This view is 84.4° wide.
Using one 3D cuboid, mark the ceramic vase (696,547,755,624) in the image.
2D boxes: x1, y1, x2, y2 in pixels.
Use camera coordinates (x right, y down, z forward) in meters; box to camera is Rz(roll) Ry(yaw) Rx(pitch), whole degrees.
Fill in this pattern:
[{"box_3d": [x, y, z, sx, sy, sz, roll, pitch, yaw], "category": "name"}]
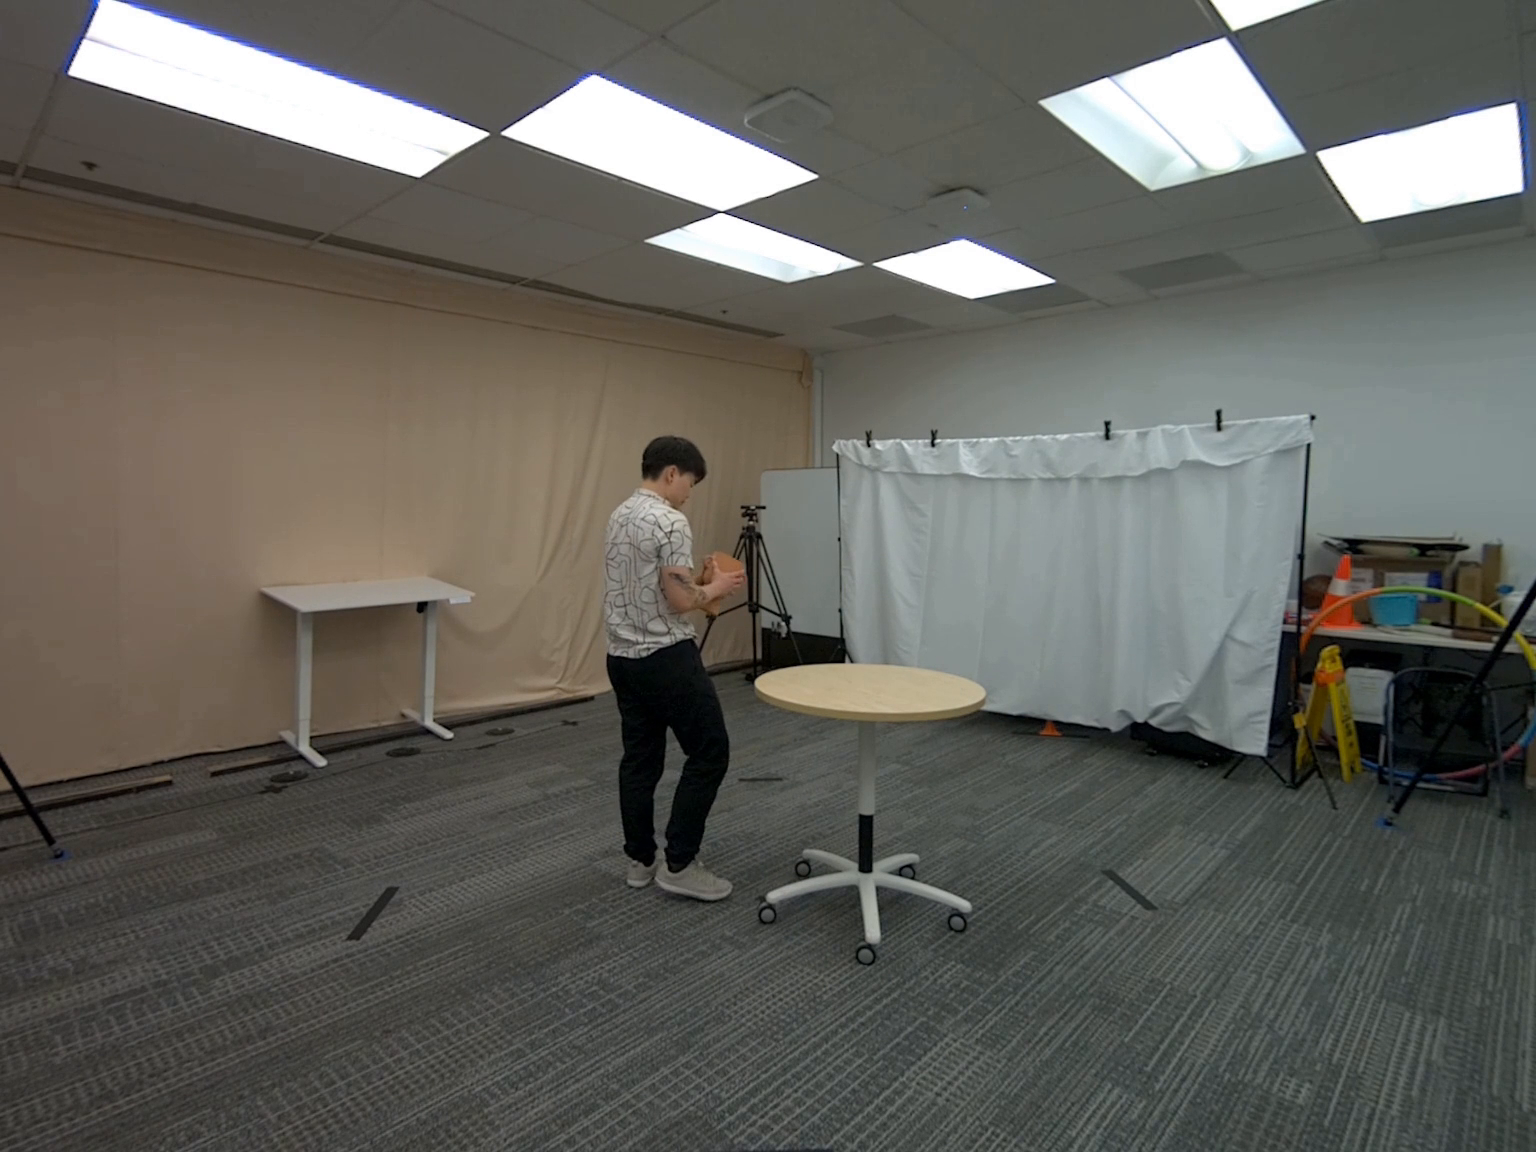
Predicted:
[{"box_3d": [-0.184, 0.033, 3.202, 0.163, 0.220, 0.131, 22, -8, 19], "category": "ceramic vase"}]
